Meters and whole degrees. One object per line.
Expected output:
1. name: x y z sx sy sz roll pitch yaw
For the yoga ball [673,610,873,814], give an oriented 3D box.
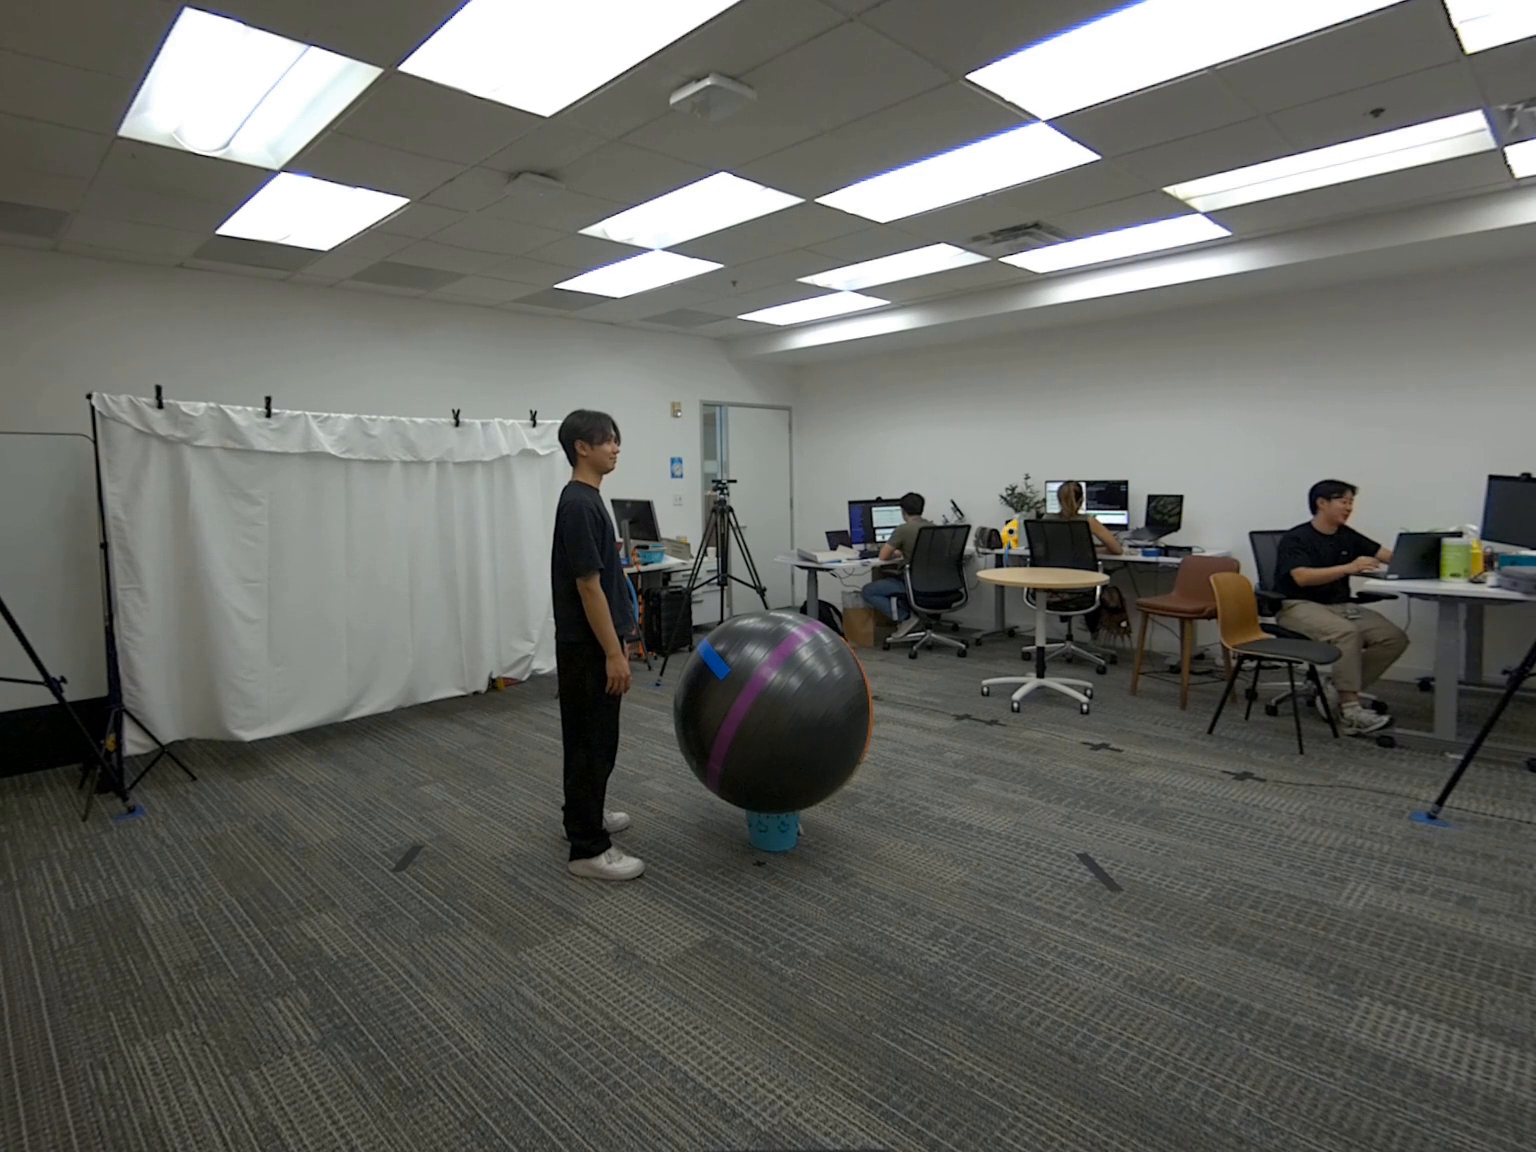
1. yoga ball: 0.027 0.516 3.276 0.757 0.755 0.762 -1 5 -2
